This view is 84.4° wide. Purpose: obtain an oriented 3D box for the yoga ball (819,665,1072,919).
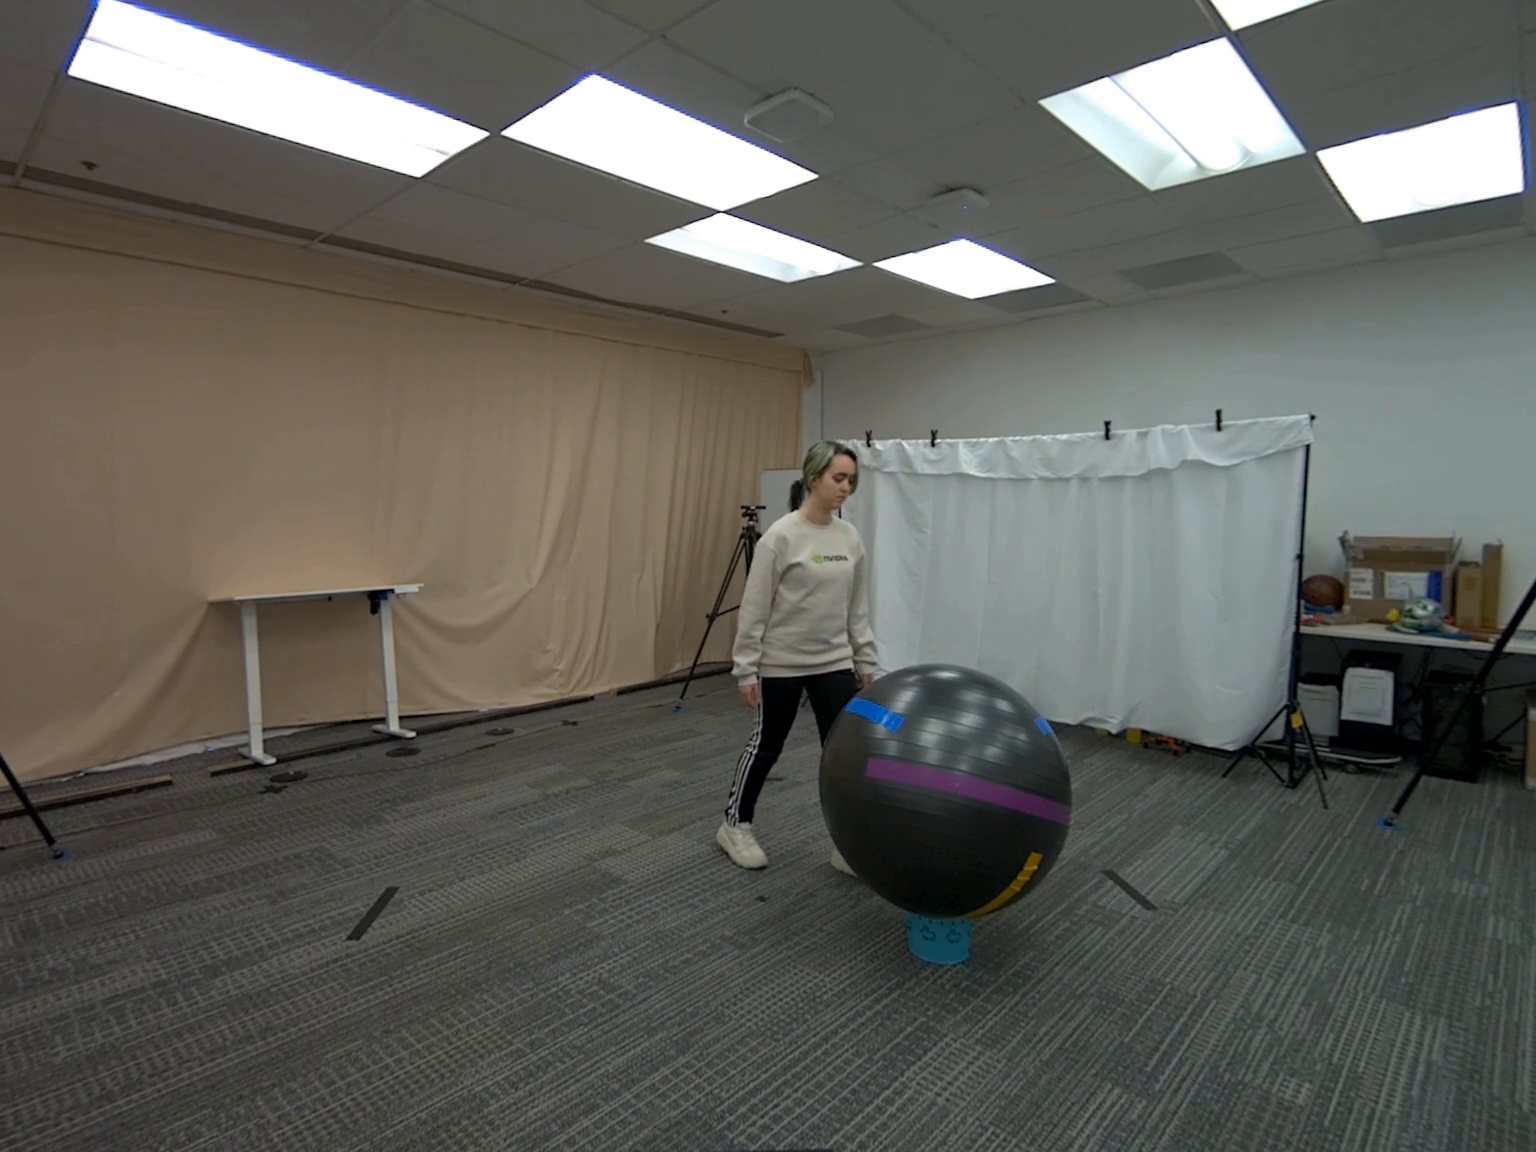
[{"bbox_3d":[0.545,0.662,2.622,0.757,0.756,0.760,0,4,-2],"label":"yoga ball"}]
